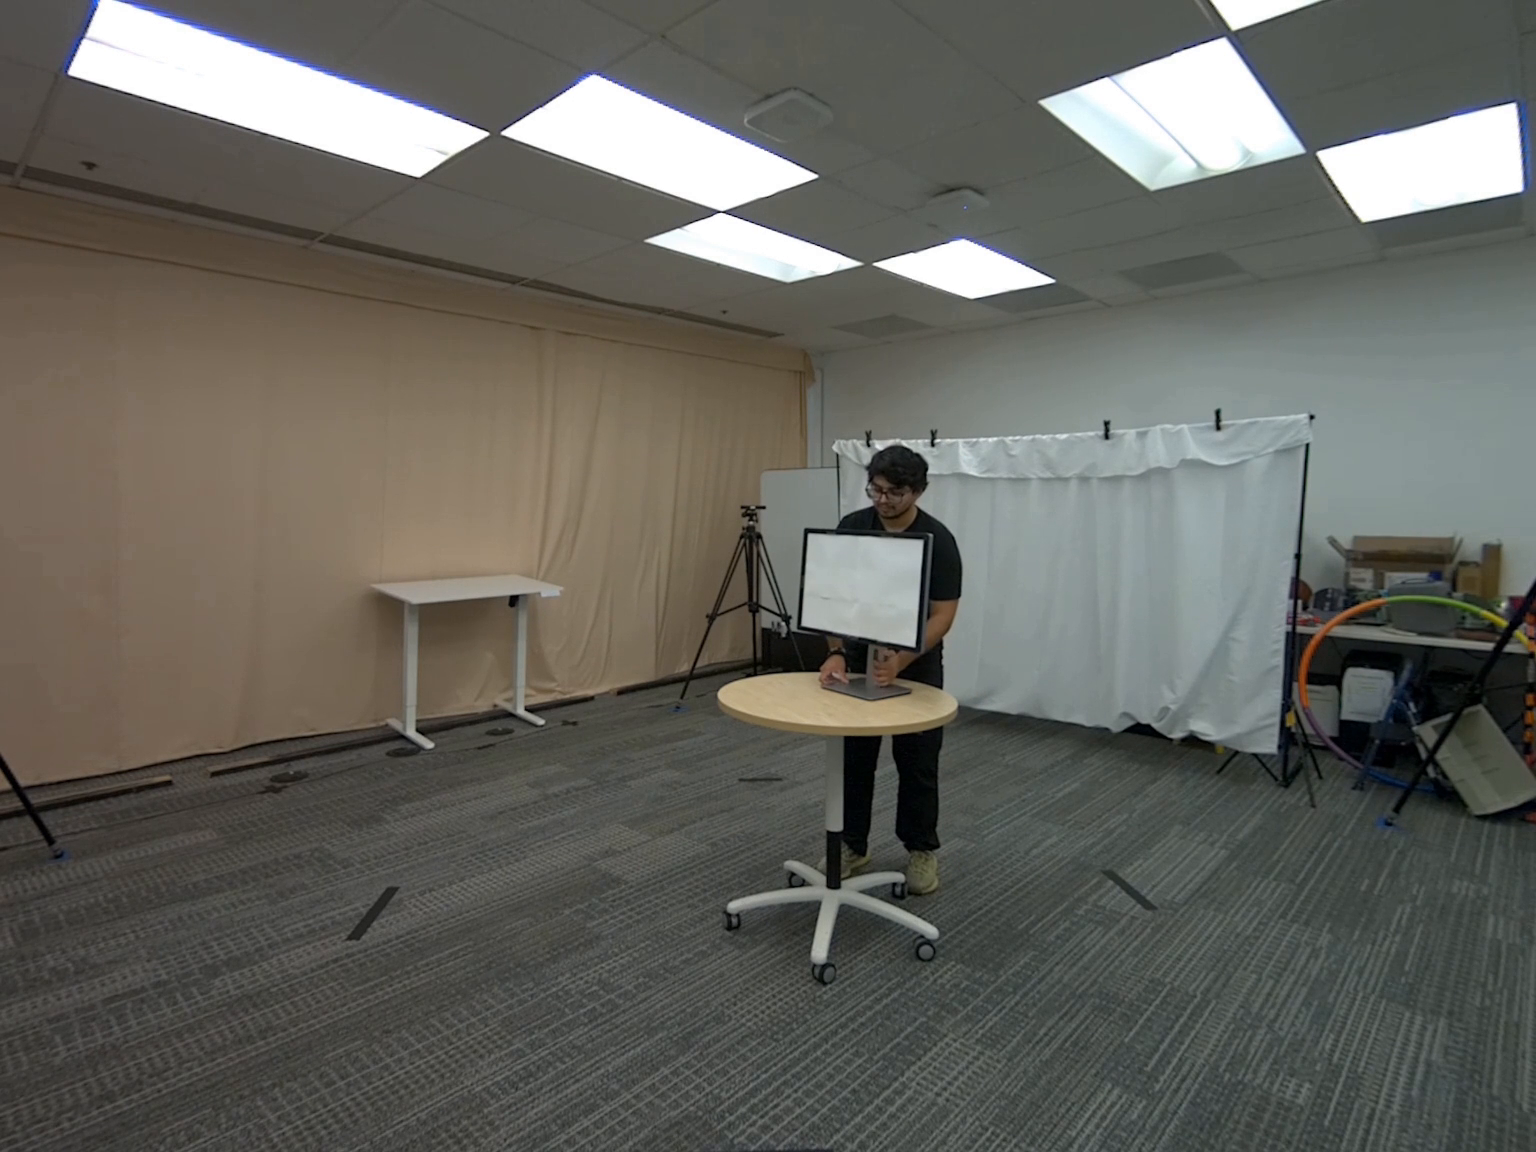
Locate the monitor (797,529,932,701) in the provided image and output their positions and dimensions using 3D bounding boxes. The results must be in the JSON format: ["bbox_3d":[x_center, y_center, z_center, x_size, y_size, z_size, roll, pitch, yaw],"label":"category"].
[{"bbox_3d":[0.355,0.120,2.811,0.204,0.553,0.584,0,4,-38],"label":"monitor"}]
